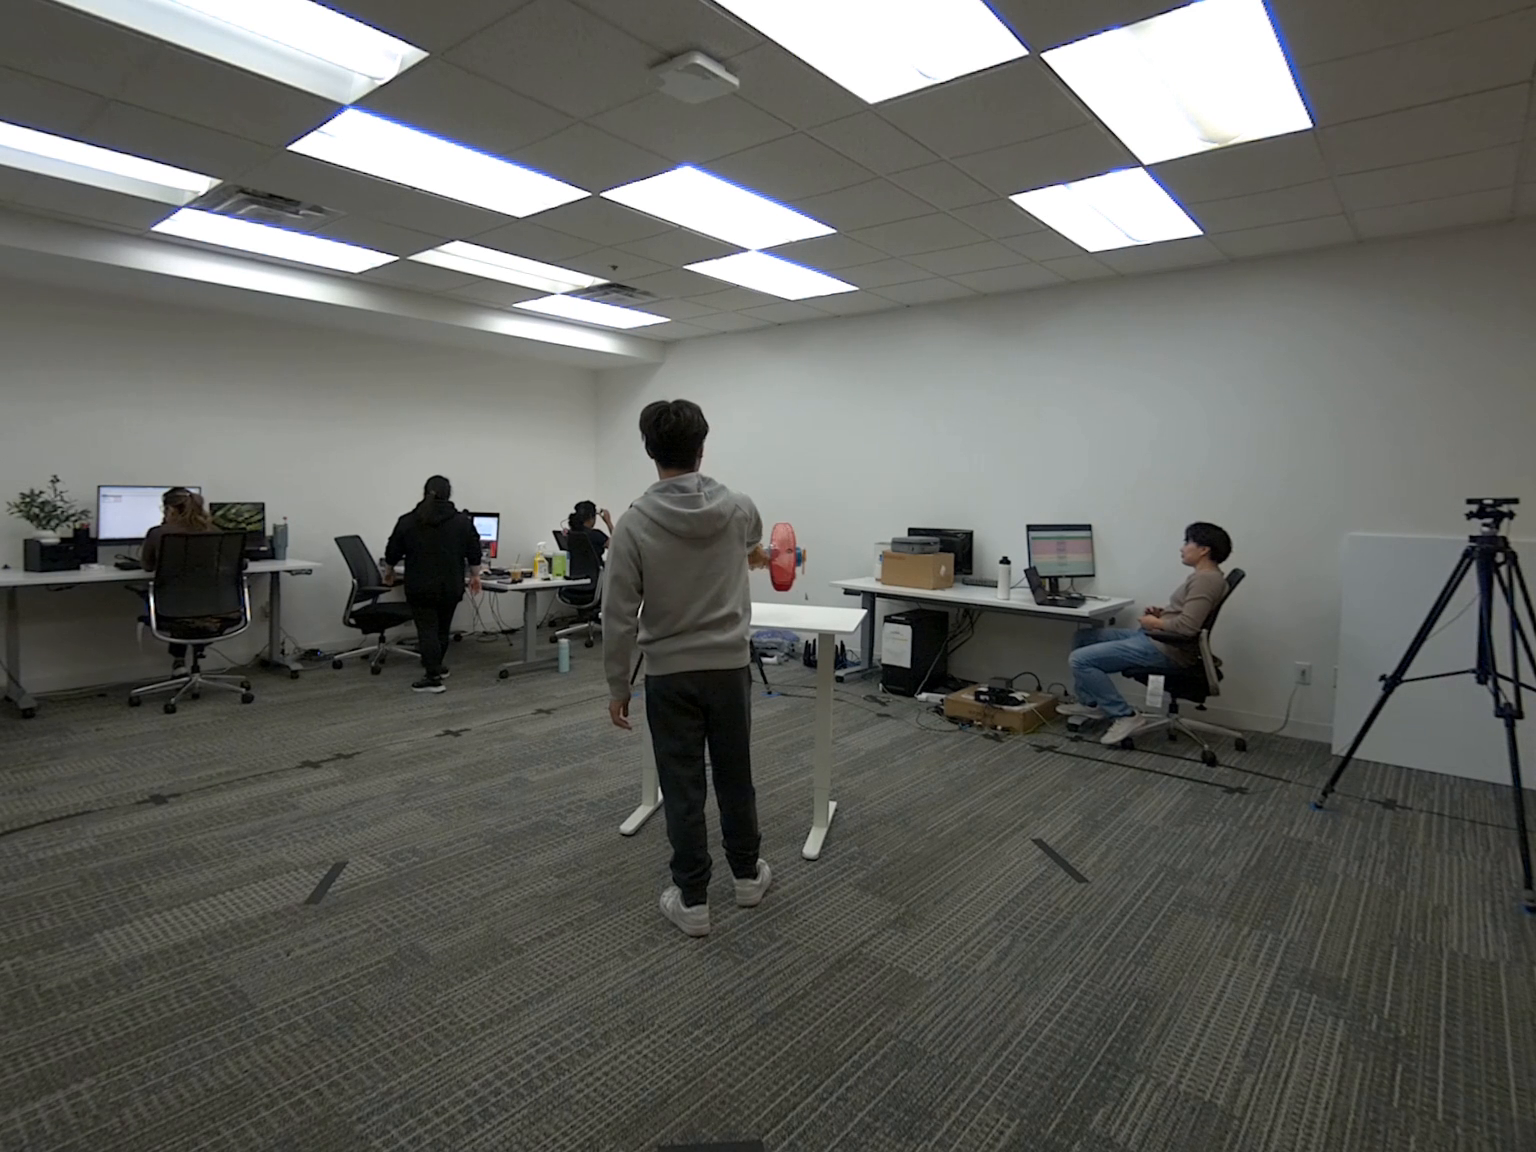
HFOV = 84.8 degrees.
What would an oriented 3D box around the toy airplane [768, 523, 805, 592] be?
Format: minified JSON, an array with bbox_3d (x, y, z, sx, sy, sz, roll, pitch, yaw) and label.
[{"bbox_3d":[0.005,-0.063,3.279,0.256,0.255,0.156,-21,-13,-23],"label":"toy airplane"}]
